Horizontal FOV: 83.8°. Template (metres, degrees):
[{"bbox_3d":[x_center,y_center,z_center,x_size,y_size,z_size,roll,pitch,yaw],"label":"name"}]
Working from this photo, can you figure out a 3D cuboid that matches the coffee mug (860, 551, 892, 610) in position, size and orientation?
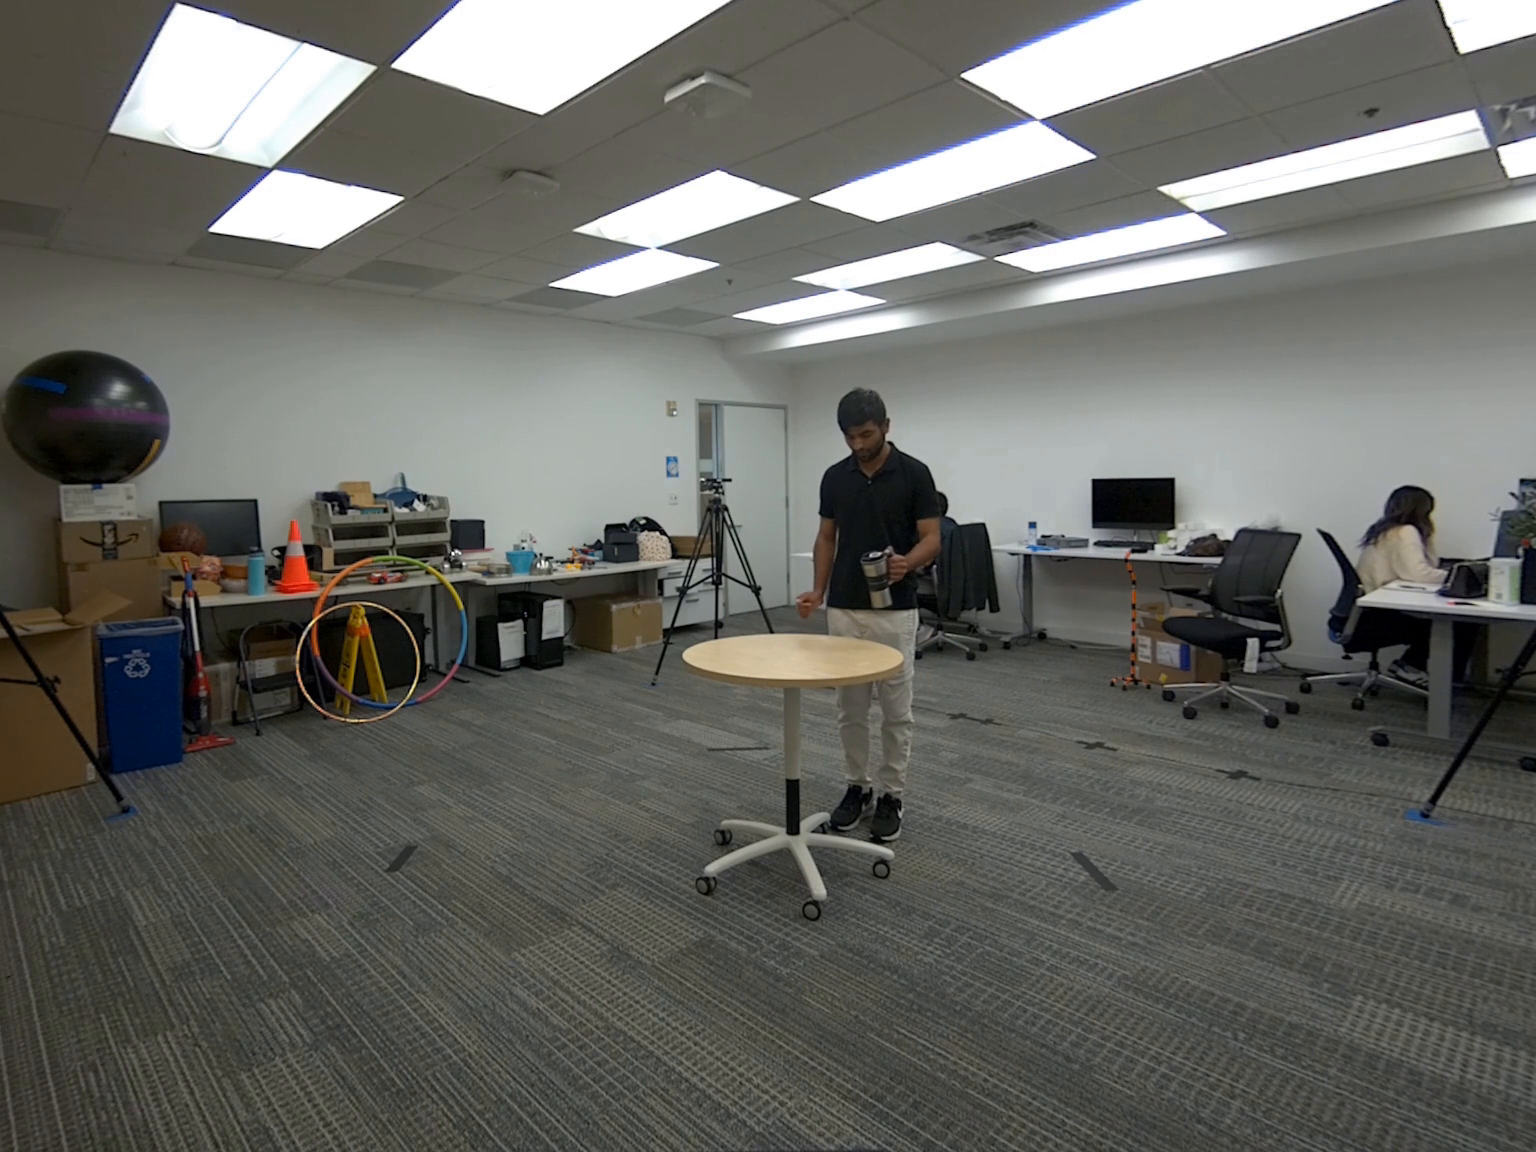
[{"bbox_3d":[0.411,0.016,3.042,0.120,0.200,0.090,-22,16,-32],"label":"coffee mug"}]
